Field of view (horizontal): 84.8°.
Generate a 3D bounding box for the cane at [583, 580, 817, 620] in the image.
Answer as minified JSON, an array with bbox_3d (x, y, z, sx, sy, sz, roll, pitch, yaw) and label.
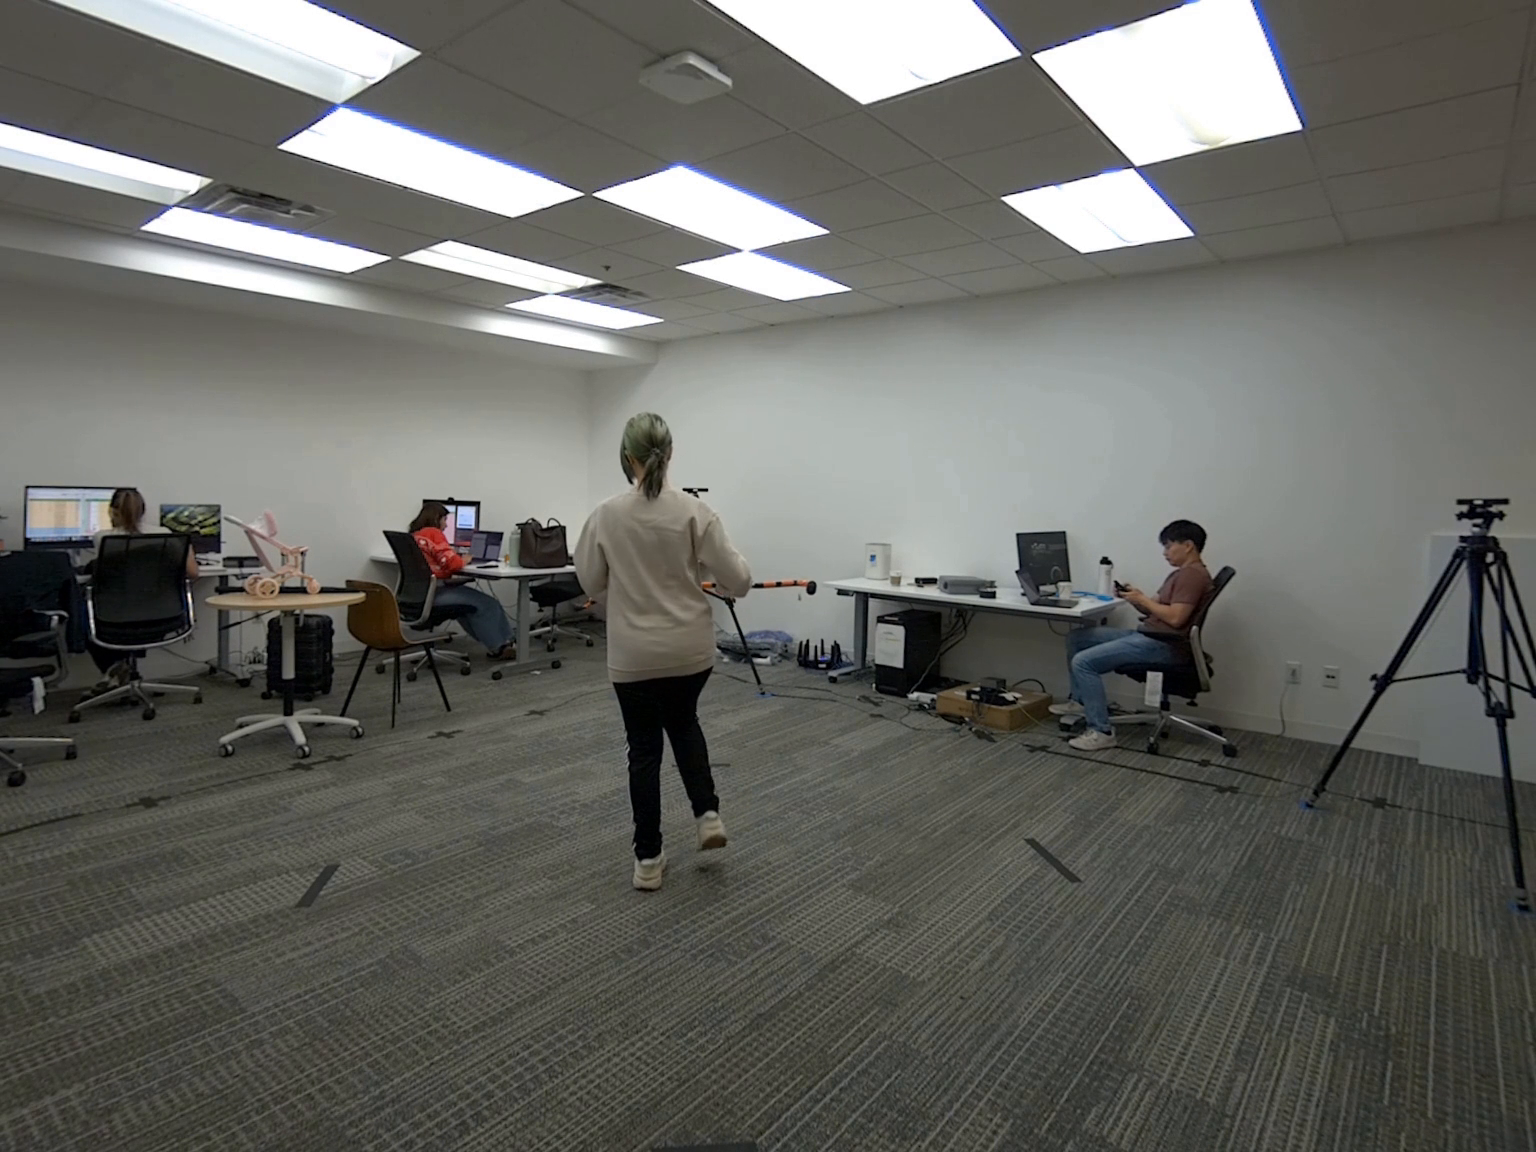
[{"bbox_3d":[-0.265,0.045,3.252,0.917,0.151,0.205,0,5,9],"label":"cane"}]
